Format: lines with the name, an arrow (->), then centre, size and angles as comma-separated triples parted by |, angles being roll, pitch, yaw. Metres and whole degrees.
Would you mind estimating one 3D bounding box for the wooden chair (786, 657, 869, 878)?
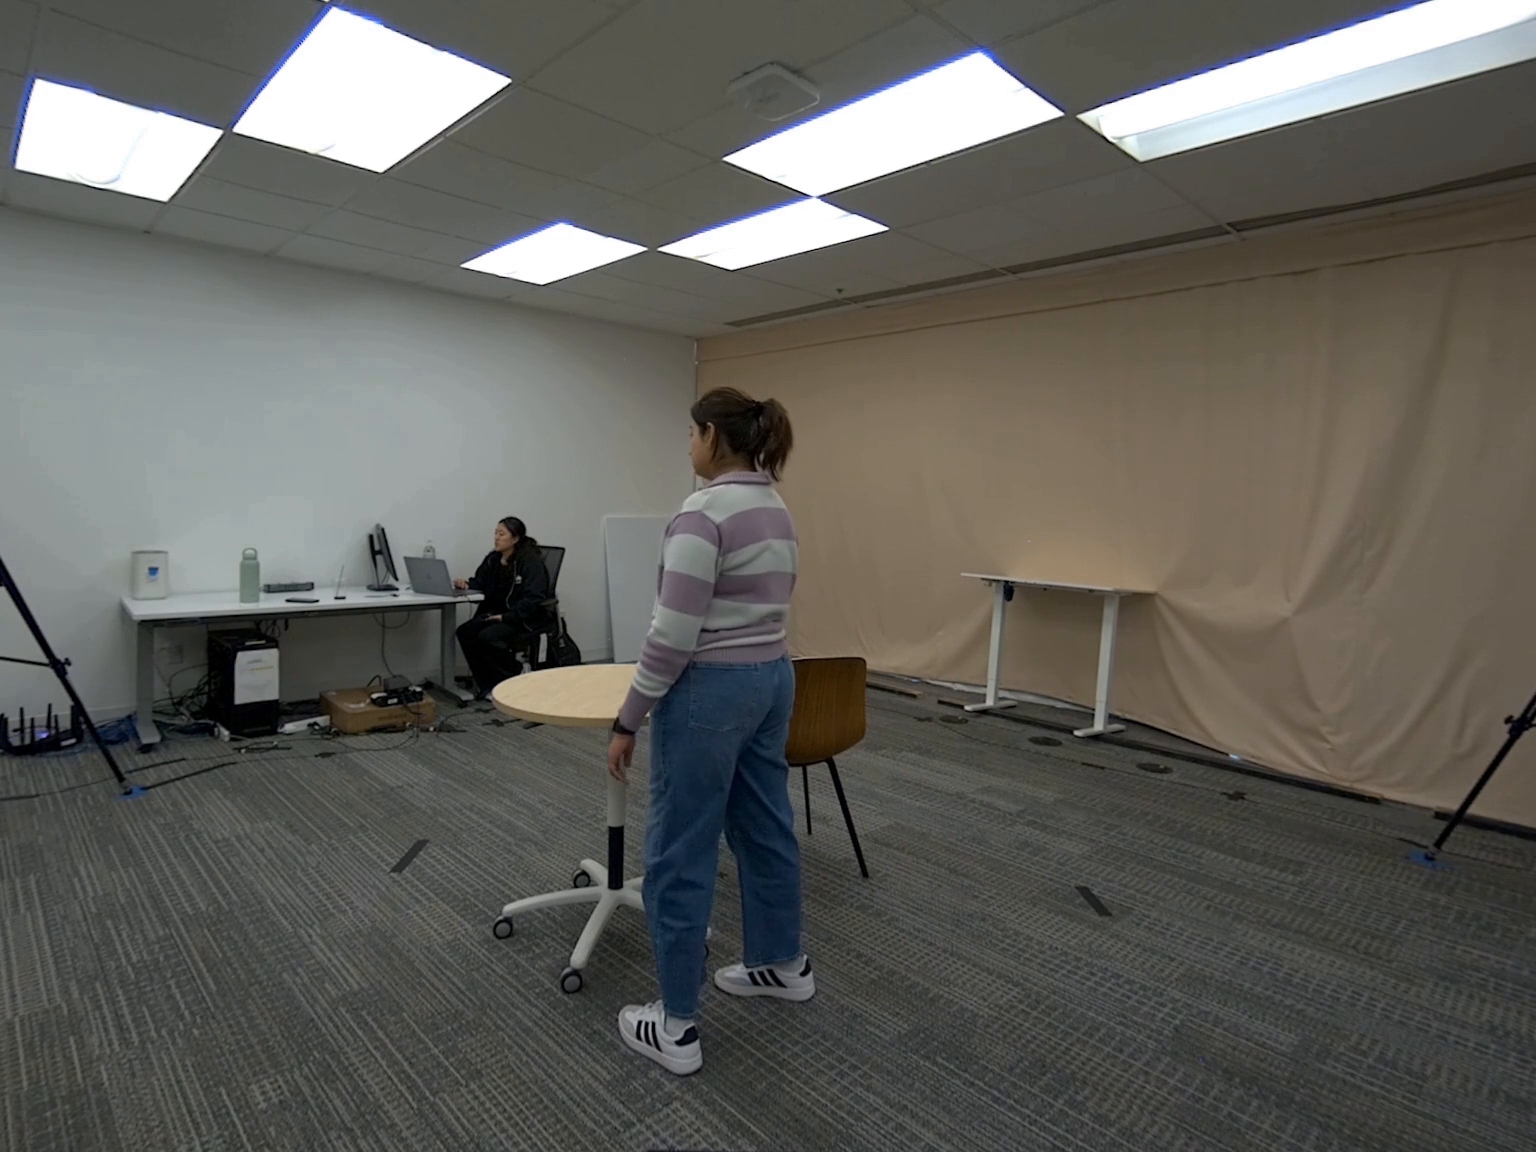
wooden chair -> 0.077, 0.675, 3.206 | 0.469, 0.873, 0.535 | 0, 8, -25
